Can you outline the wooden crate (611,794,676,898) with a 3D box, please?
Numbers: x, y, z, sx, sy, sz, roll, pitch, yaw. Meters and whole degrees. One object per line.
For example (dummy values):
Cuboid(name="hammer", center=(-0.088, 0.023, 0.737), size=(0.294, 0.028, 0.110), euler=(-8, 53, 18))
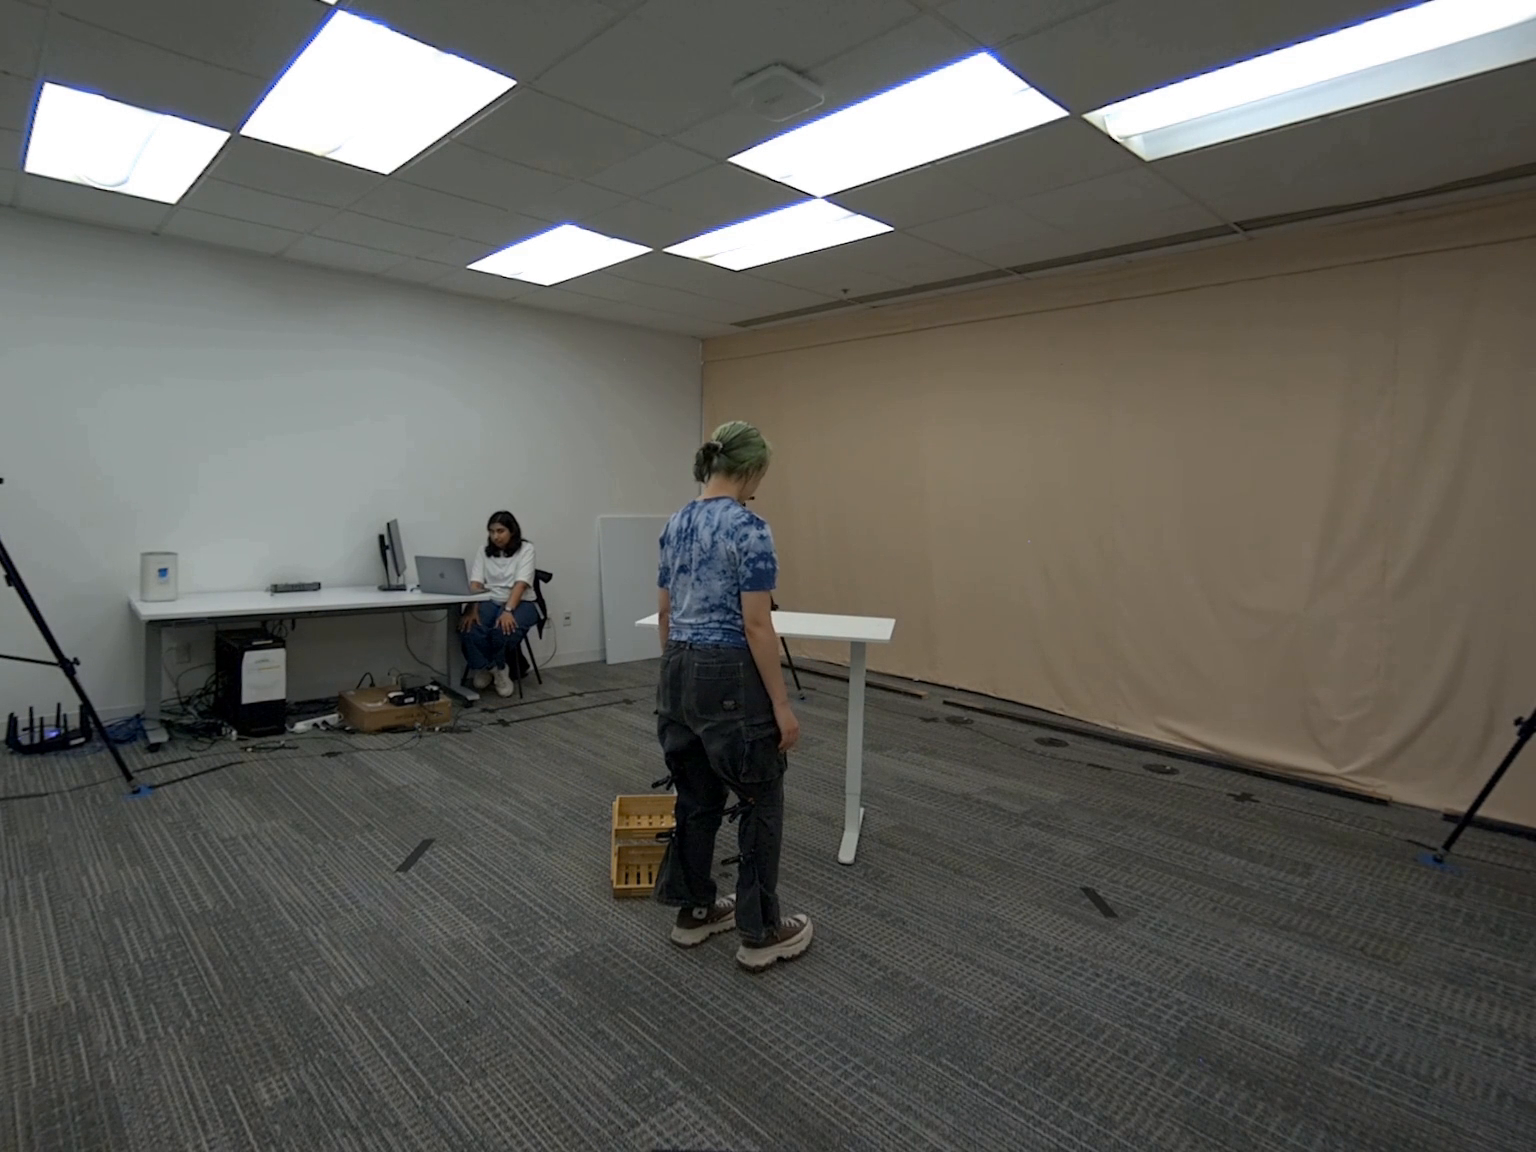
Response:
Cuboid(name="wooden crate", center=(-0.408, 0.968, 3.042), size=(0.323, 0.272, 0.304), euler=(1, 5, -7))
